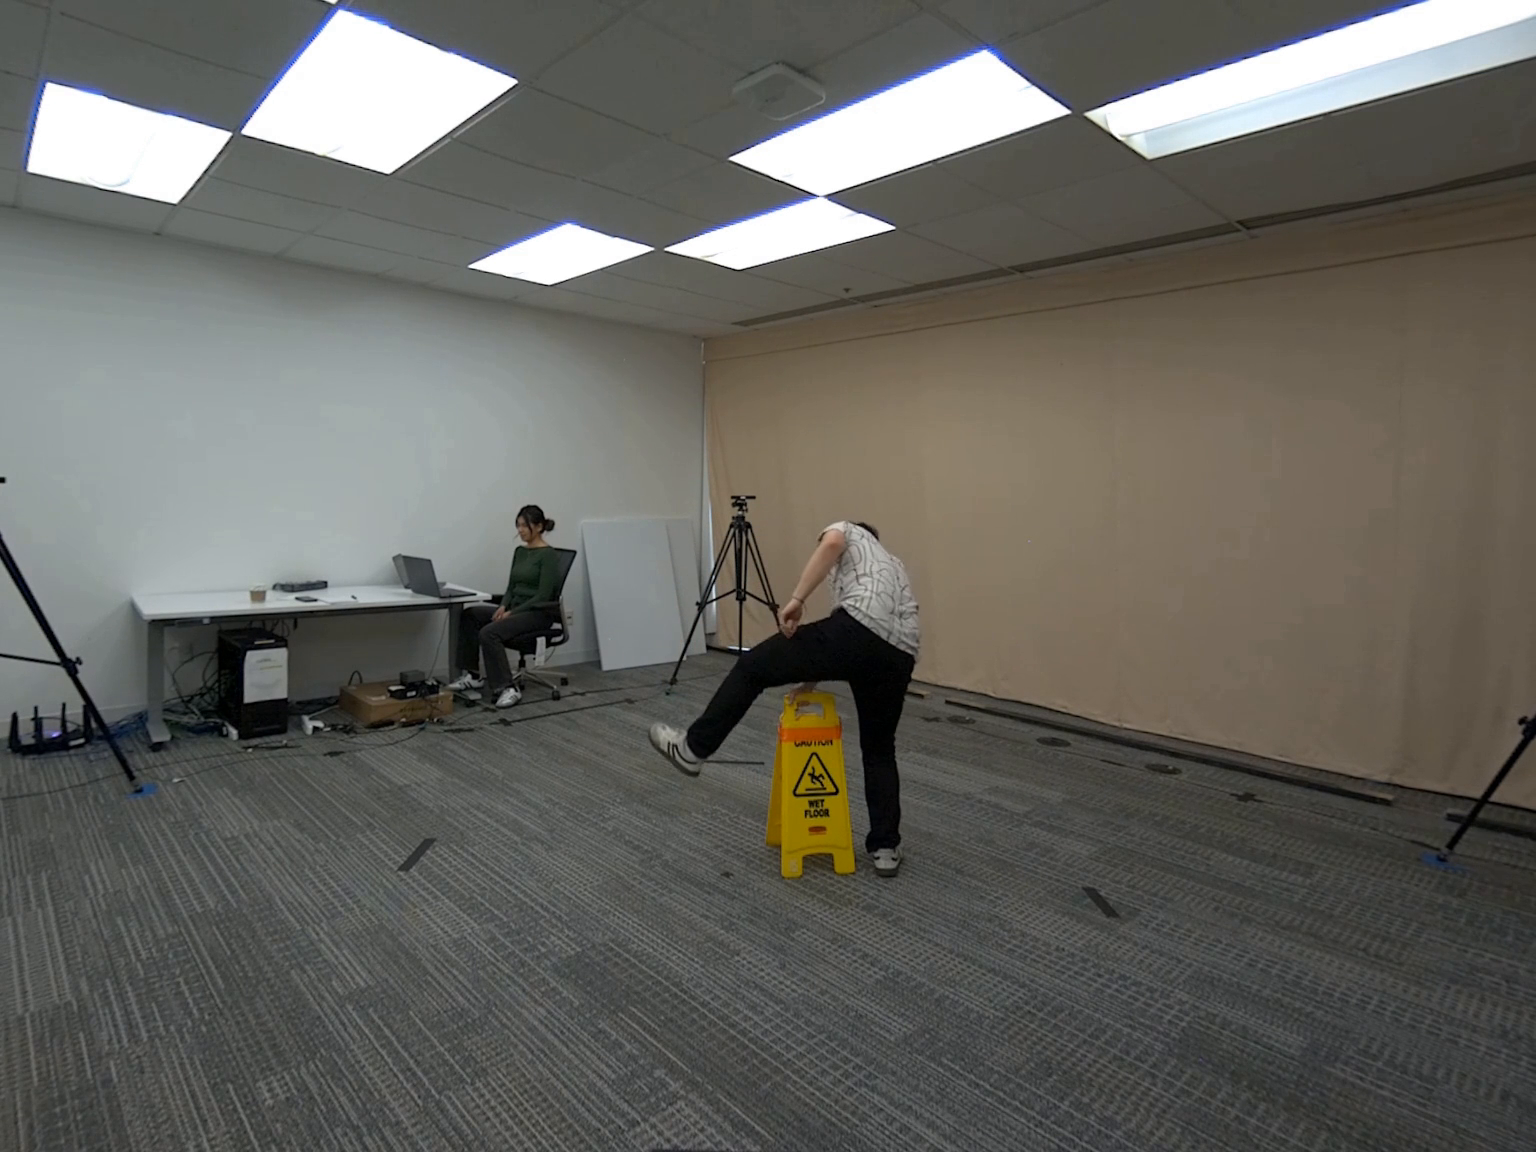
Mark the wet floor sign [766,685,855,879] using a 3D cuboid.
[{"bbox_3d":[0.149,0.771,3.243,0.280,0.645,0.292,0,3,-11],"label":"wet floor sign"}]
